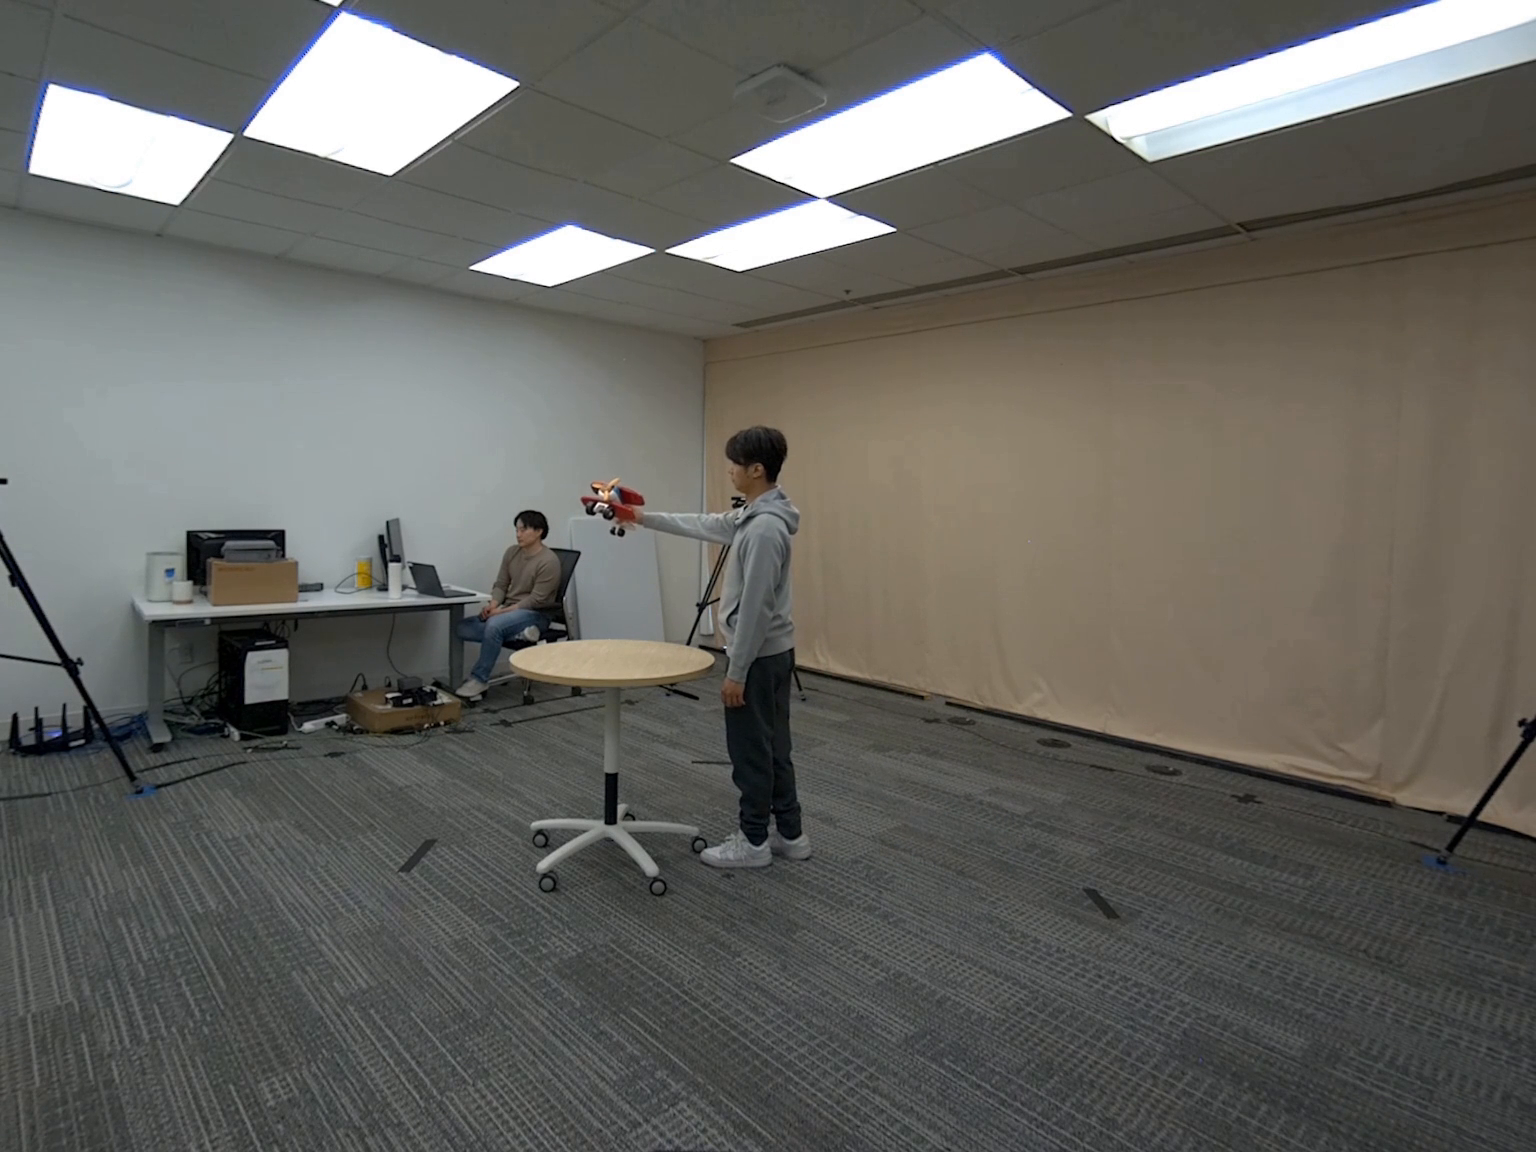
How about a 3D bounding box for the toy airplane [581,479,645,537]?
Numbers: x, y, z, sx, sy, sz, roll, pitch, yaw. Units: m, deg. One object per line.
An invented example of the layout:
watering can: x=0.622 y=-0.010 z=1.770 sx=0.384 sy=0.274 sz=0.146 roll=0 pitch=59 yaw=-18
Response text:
toy airplane: x=-0.648 y=-0.278 z=3.456 sx=0.250 sy=0.157 sz=0.258 roll=23 pitch=-14 yaw=-3
